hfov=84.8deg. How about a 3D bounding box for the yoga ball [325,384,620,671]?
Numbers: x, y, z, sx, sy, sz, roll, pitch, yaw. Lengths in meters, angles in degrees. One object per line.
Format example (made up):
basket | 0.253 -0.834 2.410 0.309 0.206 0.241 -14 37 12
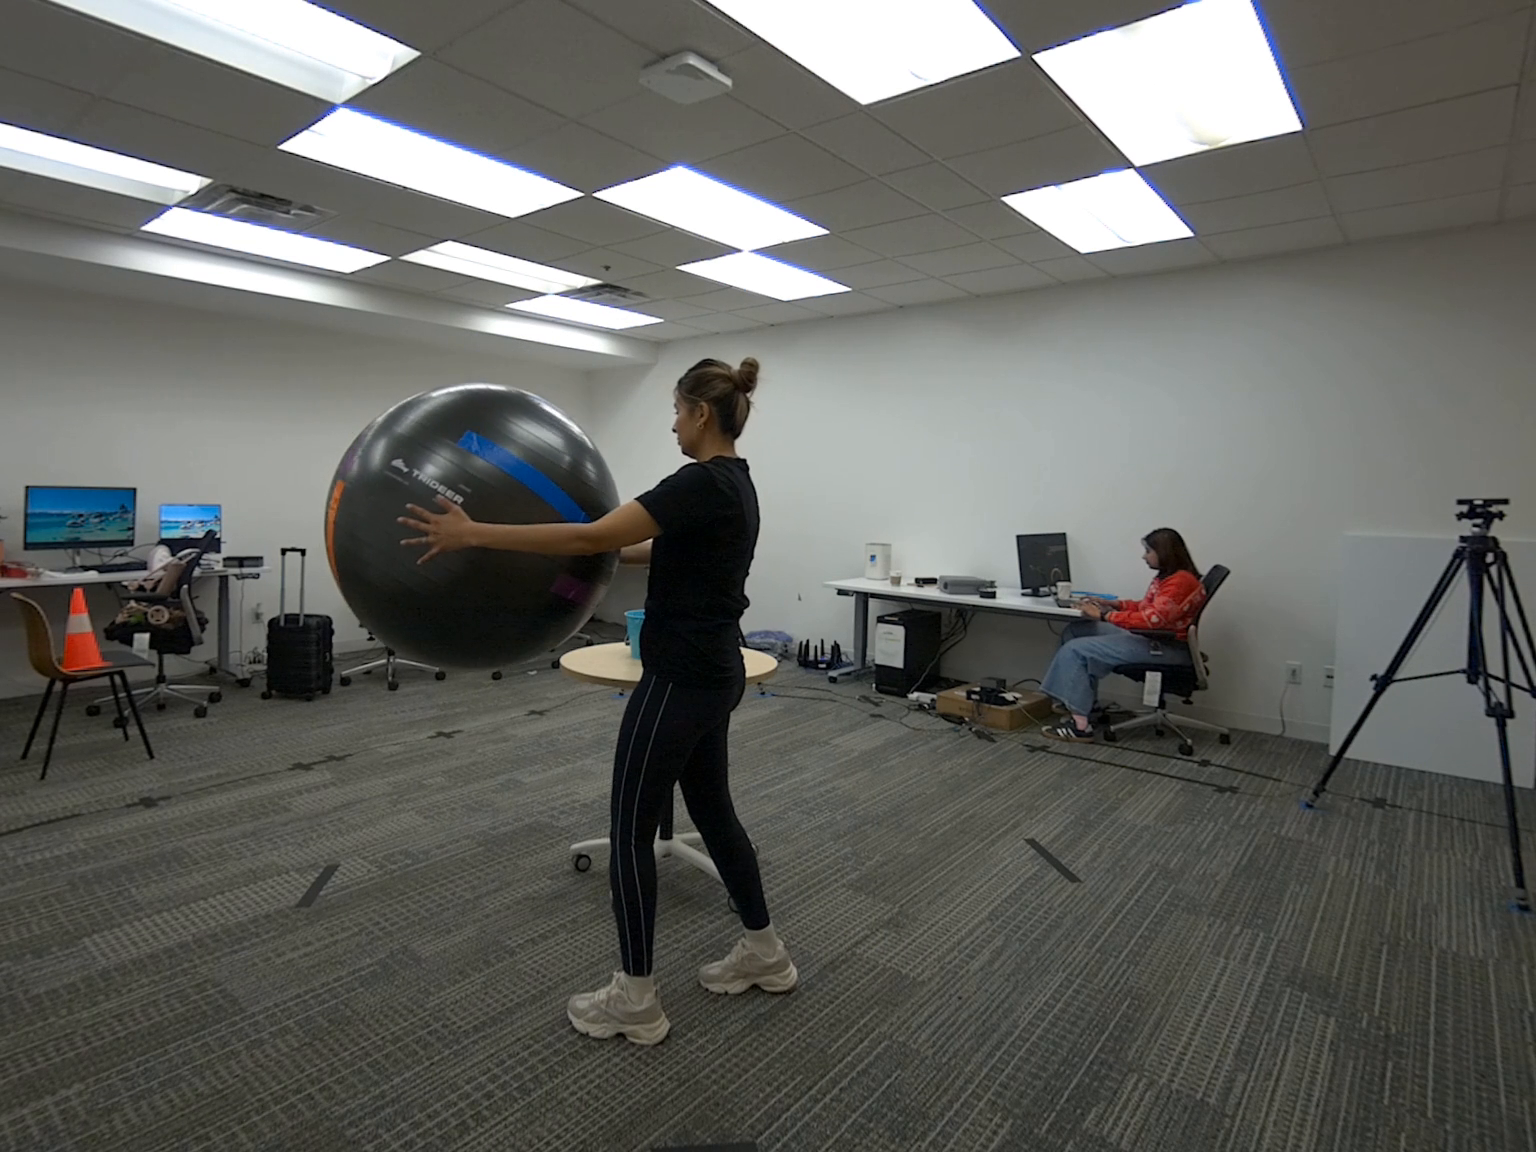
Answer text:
yoga ball | -0.787 -0.120 2.251 0.757 0.756 0.761 1 4 -2
